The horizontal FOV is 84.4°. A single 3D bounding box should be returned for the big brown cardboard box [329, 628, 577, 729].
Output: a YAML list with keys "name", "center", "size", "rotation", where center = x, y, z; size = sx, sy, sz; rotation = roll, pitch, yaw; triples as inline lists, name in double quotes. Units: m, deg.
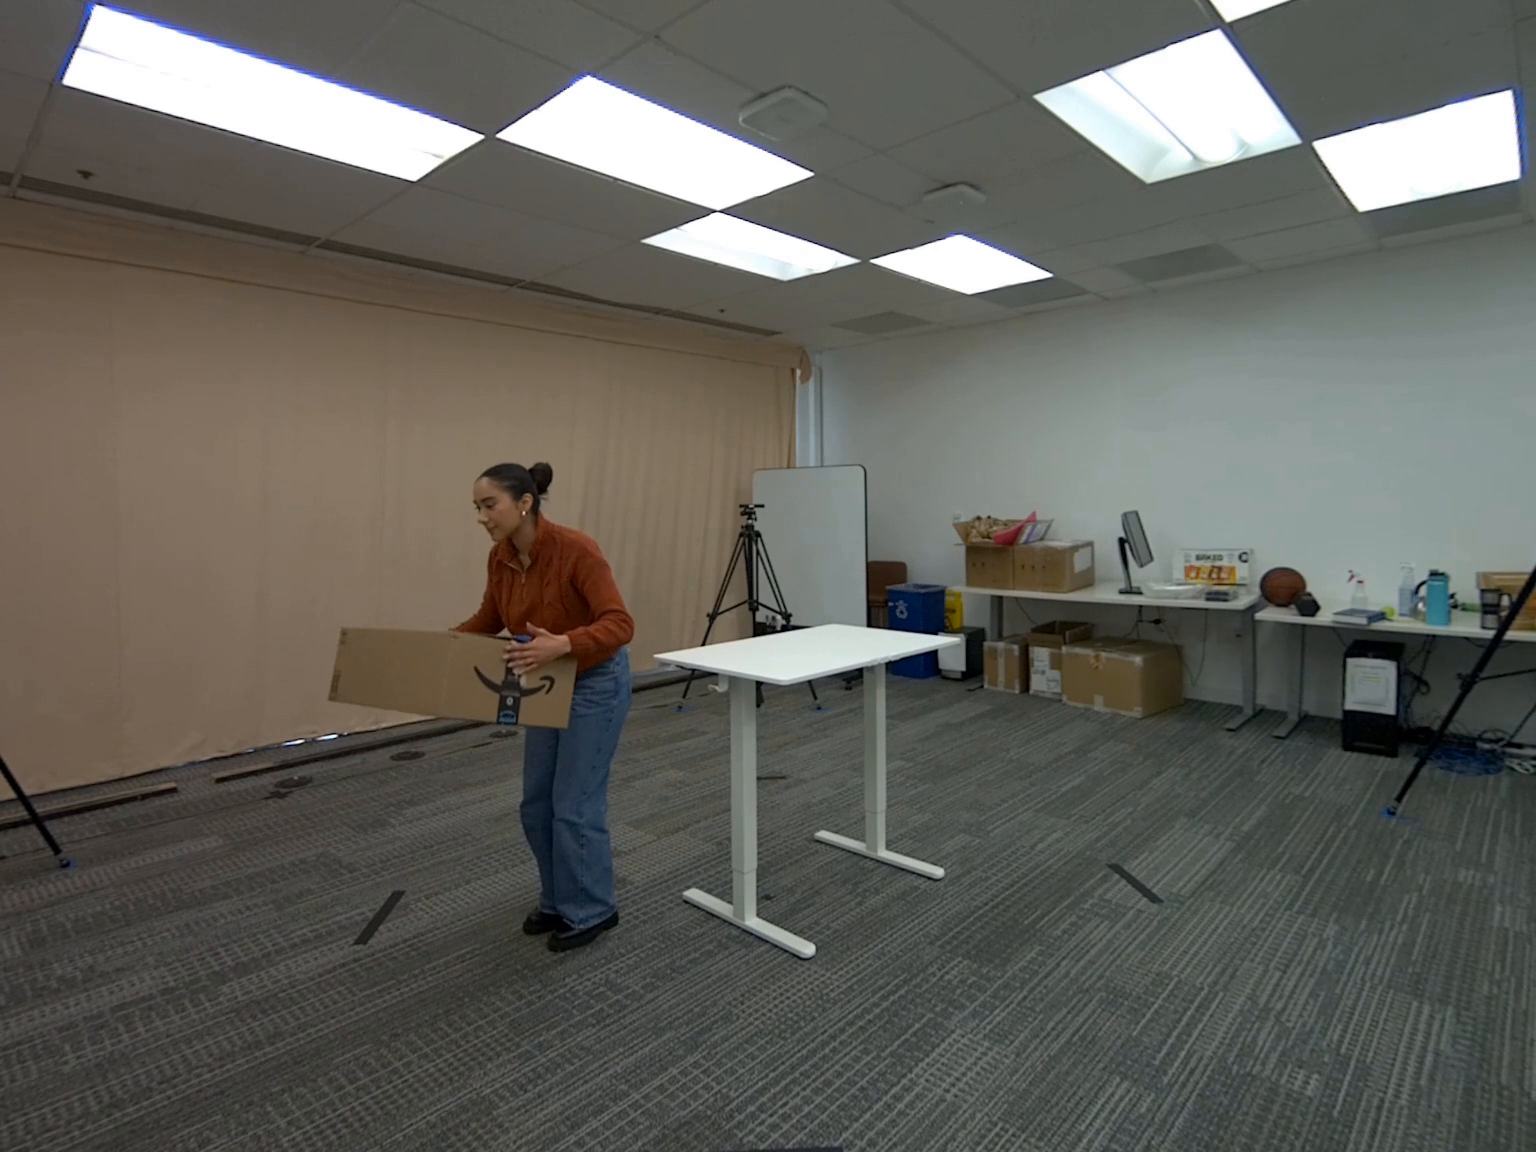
- name: "big brown cardboard box"
  center: [-0.901, 0.287, 2.401]
  size: [0.607, 0.234, 0.403]
  rotation: [0, -12, 38]
